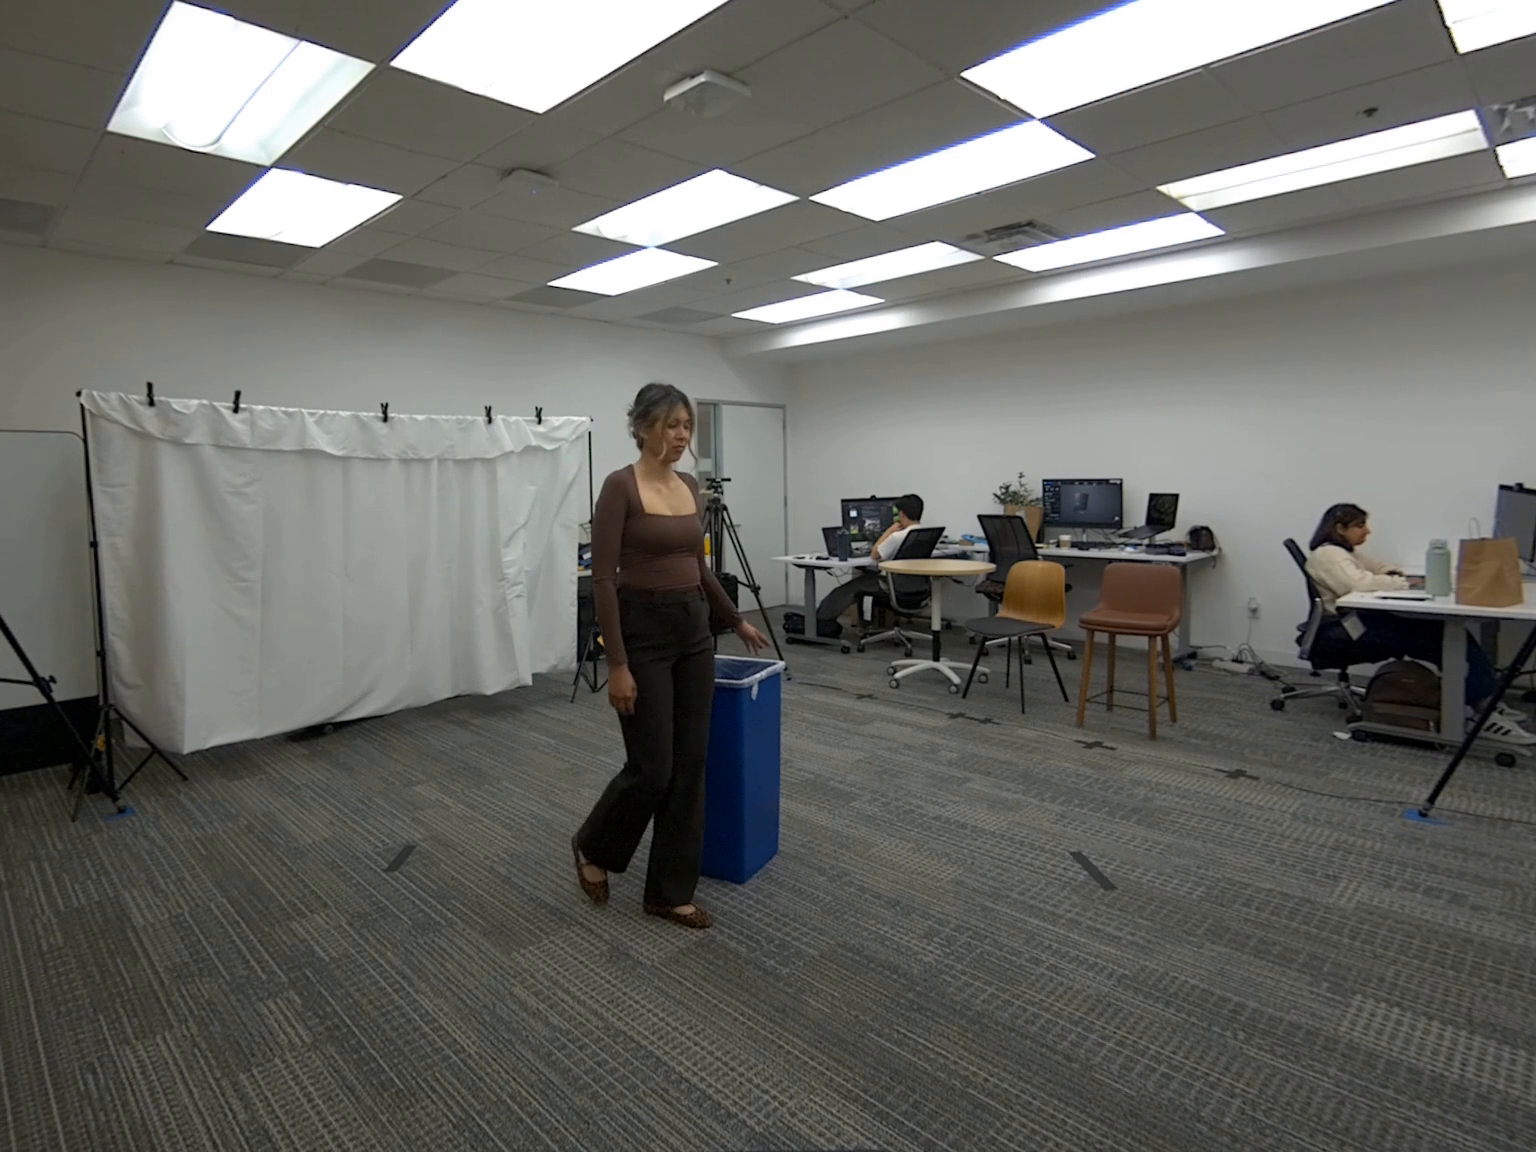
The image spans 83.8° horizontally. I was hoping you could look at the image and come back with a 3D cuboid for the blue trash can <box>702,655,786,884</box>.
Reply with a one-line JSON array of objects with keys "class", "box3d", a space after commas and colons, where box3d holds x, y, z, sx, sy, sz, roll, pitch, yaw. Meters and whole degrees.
[{"class": "blue trash can", "box3d": [-0.164, 0.683, 3.119, 0.383, 0.711, 0.370, 2, 4, 27]}]
